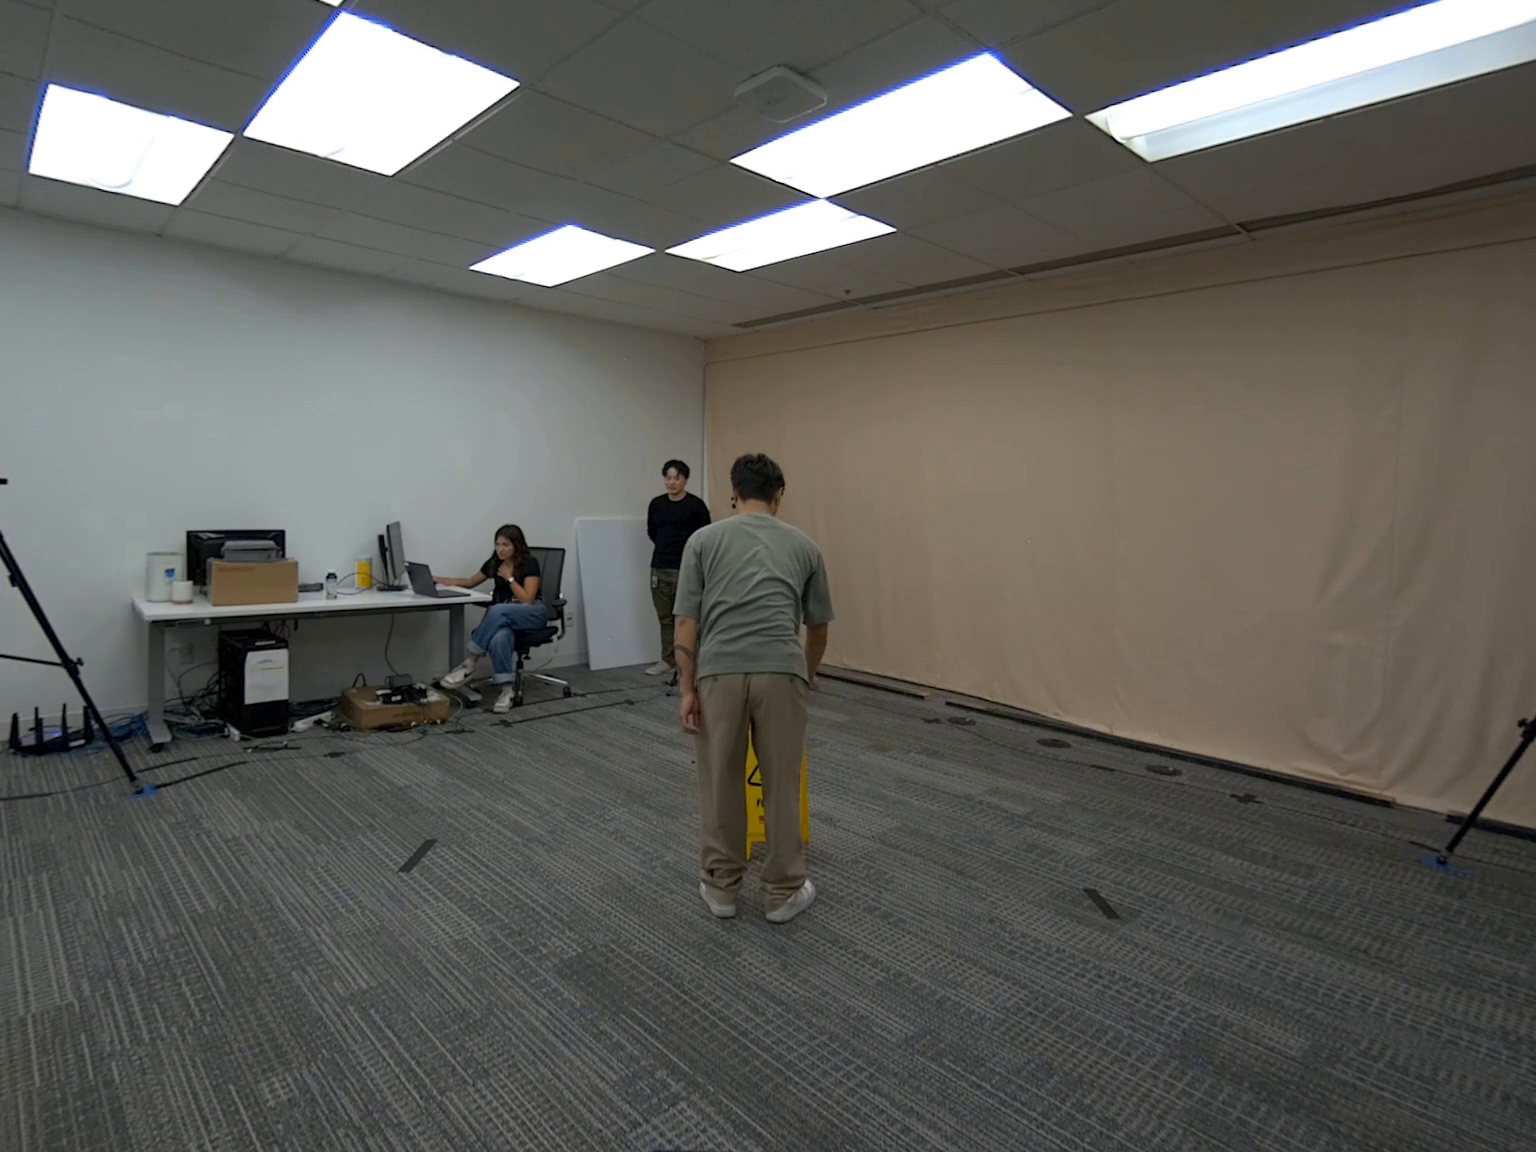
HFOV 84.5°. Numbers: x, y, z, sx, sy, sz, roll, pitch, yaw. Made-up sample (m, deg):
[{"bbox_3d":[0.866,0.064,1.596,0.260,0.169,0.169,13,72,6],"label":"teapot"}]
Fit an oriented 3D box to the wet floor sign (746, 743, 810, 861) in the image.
[{"bbox_3d":[0.007,0.772,3.335,0.285,0.645,0.287,3,2,10],"label":"wet floor sign"}]
